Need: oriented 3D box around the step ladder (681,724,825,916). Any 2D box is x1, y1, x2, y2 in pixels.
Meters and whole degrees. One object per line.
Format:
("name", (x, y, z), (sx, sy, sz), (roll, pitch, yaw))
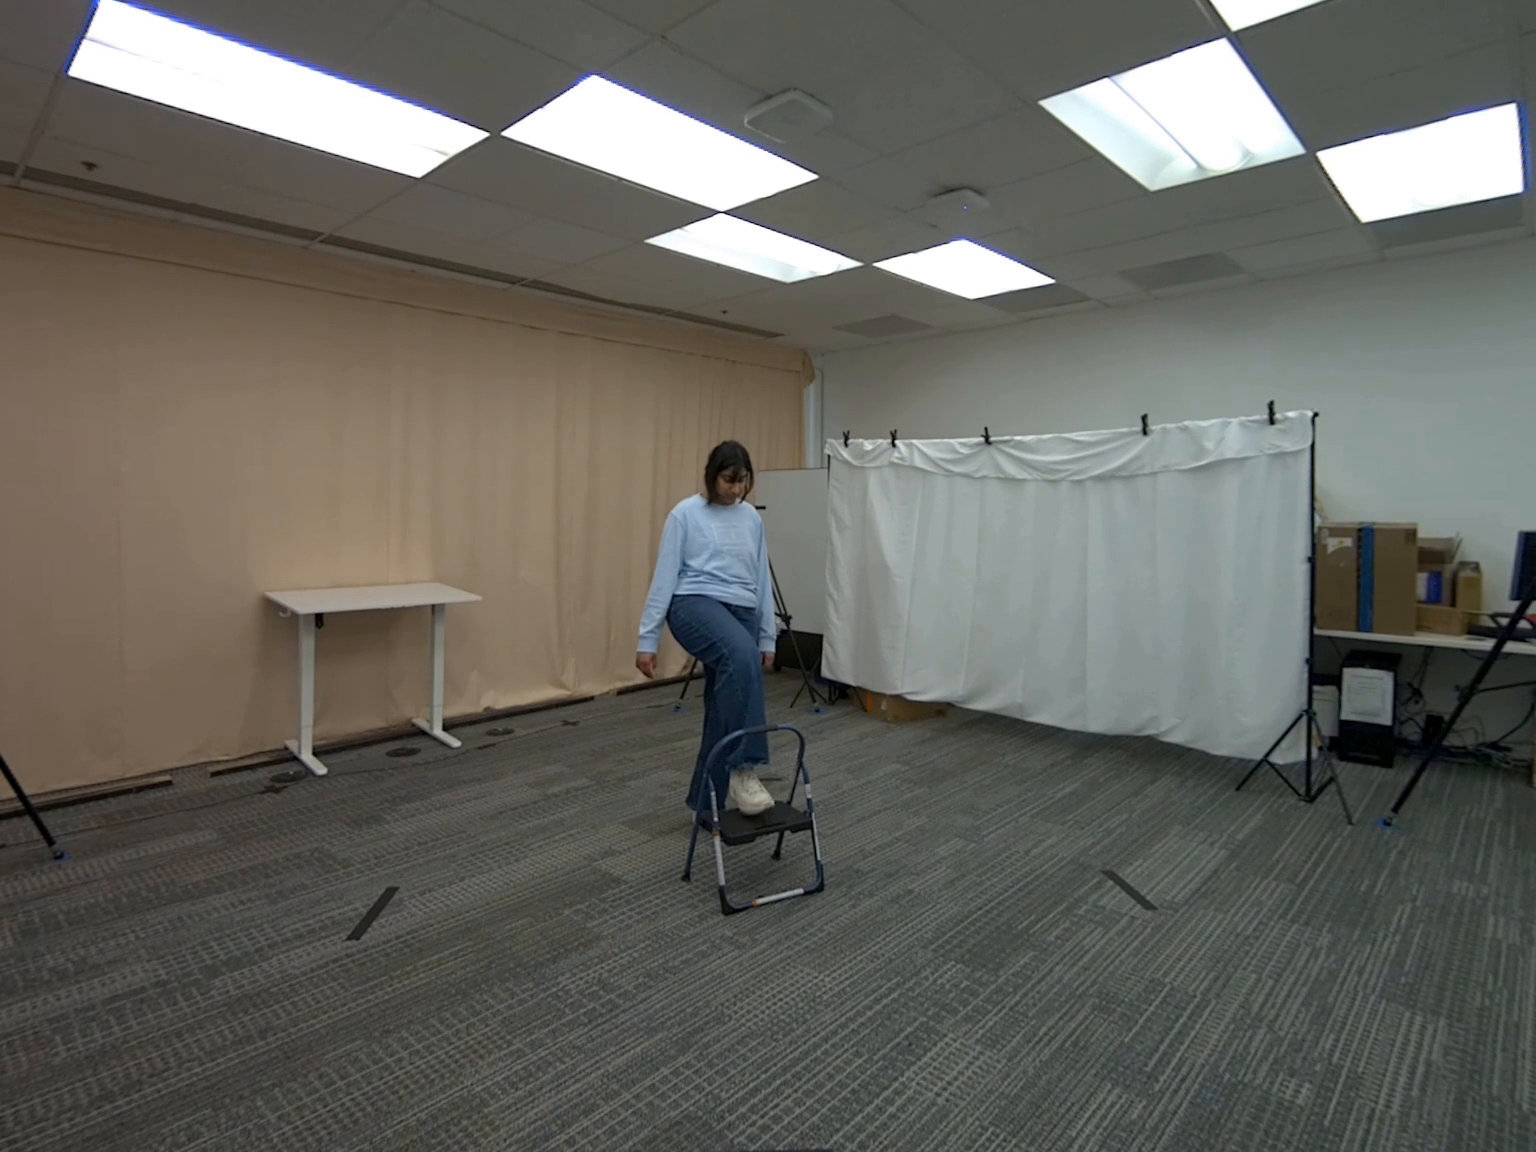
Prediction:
("step ladder", (-0.054, 0.834, 3.081), (0.419, 0.605, 0.359), (-3, 4, -30))
